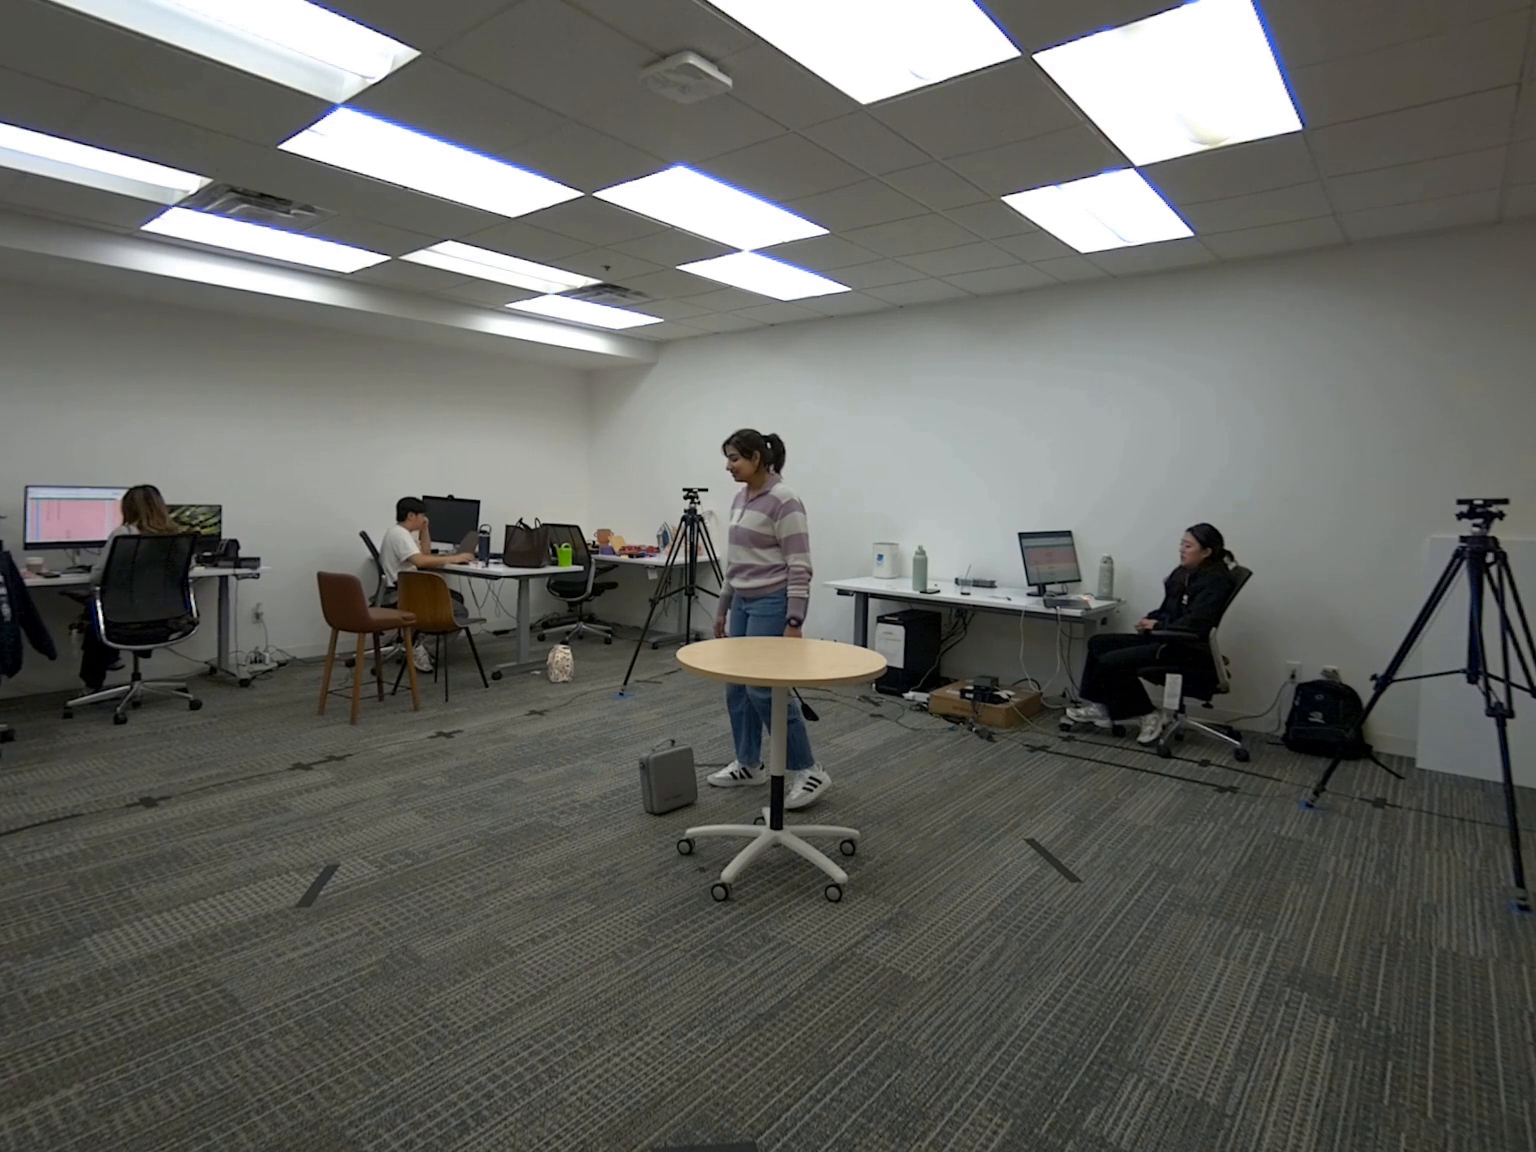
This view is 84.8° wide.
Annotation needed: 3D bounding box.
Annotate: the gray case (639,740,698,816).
[{"bbox_3d":[-0.446,0.873,3.715,0.107,0.262,0.249,-9,-5,45],"label":"gray case"}]
